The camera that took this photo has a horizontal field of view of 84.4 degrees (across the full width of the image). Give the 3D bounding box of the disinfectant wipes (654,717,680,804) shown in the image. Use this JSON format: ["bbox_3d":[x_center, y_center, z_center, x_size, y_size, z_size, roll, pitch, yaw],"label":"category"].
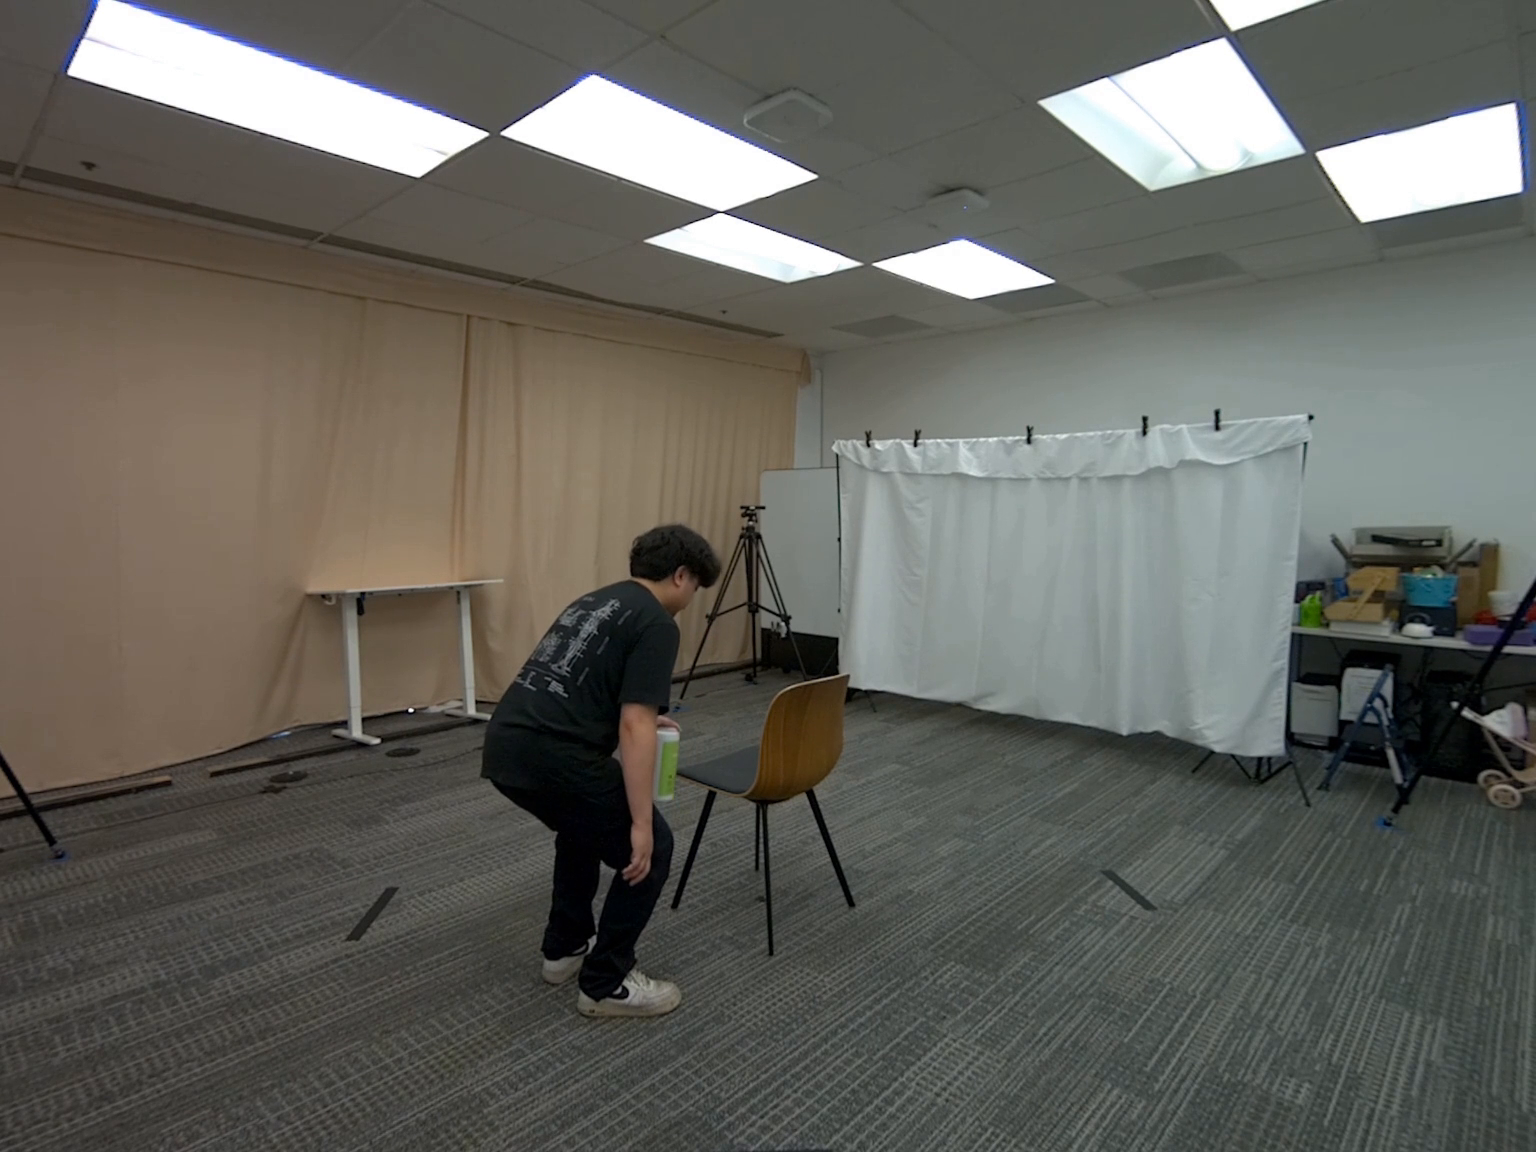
[{"bbox_3d":[-0.338,0.591,2.648,0.117,0.217,0.118,3,2,-2],"label":"disinfectant wipes"}]
